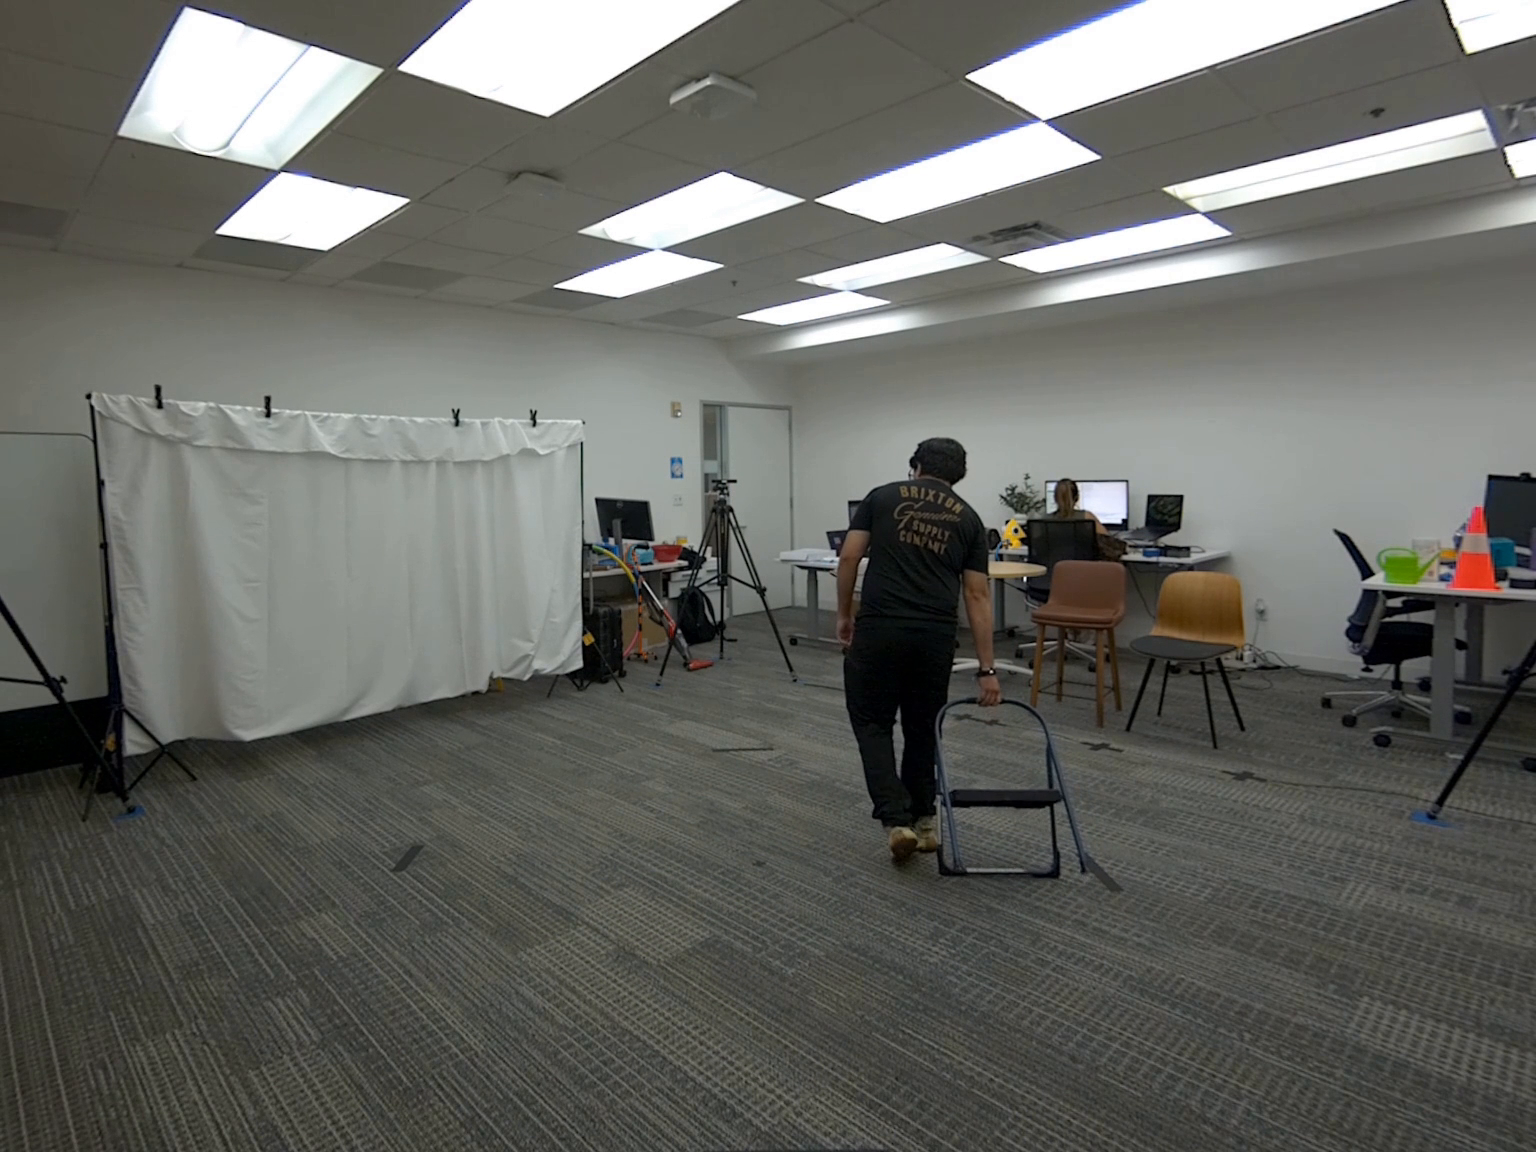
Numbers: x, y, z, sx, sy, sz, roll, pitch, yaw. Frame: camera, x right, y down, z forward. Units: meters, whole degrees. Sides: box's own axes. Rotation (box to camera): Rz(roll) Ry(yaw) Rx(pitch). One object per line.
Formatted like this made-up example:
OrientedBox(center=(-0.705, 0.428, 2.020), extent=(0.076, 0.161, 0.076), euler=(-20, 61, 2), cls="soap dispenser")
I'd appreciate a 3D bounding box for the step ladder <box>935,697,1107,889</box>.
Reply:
OrientedBox(center=(0.816, 0.712, 2.952), extent=(0.432, 0.618, 0.341), euler=(0, -24, 3), cls="step ladder")
